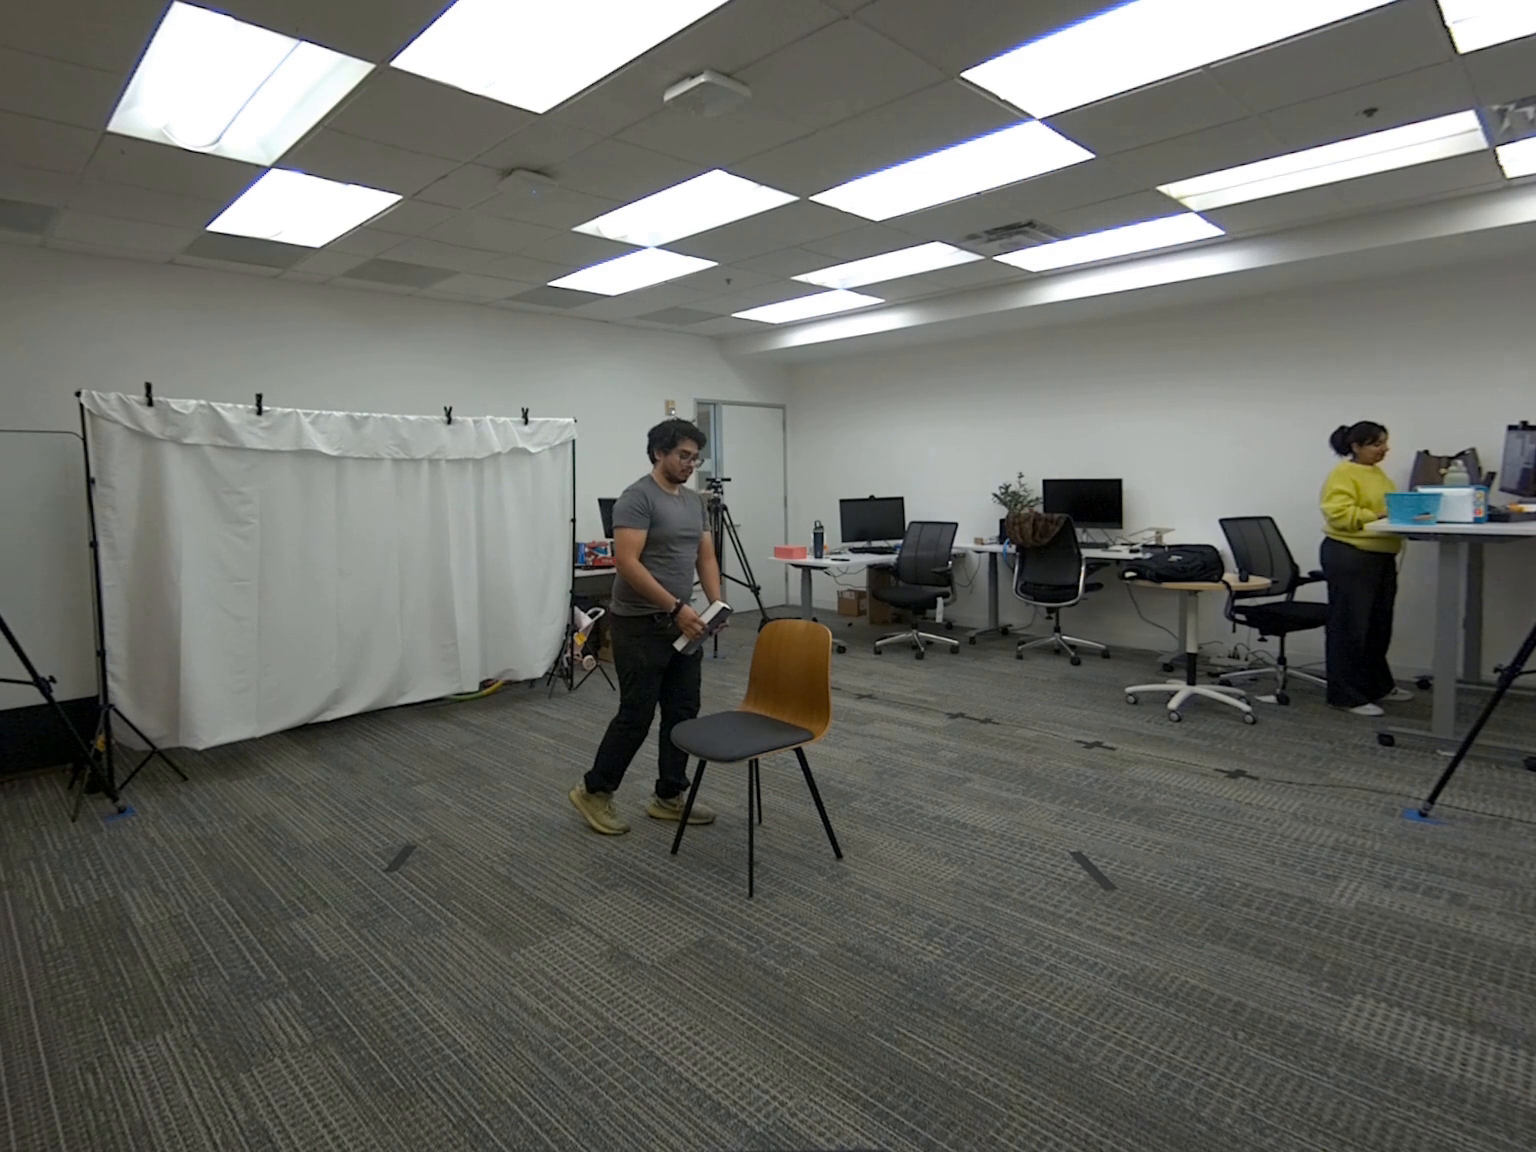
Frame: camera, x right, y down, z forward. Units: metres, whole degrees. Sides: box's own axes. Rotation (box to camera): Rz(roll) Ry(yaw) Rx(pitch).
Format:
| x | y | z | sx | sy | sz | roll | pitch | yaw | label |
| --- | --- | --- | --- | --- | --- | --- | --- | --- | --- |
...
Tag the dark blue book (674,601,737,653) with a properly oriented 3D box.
| x | y | z | sx | sy | sz | roll | pitch | yaw | label |
| --- | --- | --- | --- | --- | --- | --- | --- | --- | --- |
| -0.246 | 0.205 | 3.264 | 0.046 | 0.245 | 0.159 | 46 | 6 | 16 | dark blue book |
